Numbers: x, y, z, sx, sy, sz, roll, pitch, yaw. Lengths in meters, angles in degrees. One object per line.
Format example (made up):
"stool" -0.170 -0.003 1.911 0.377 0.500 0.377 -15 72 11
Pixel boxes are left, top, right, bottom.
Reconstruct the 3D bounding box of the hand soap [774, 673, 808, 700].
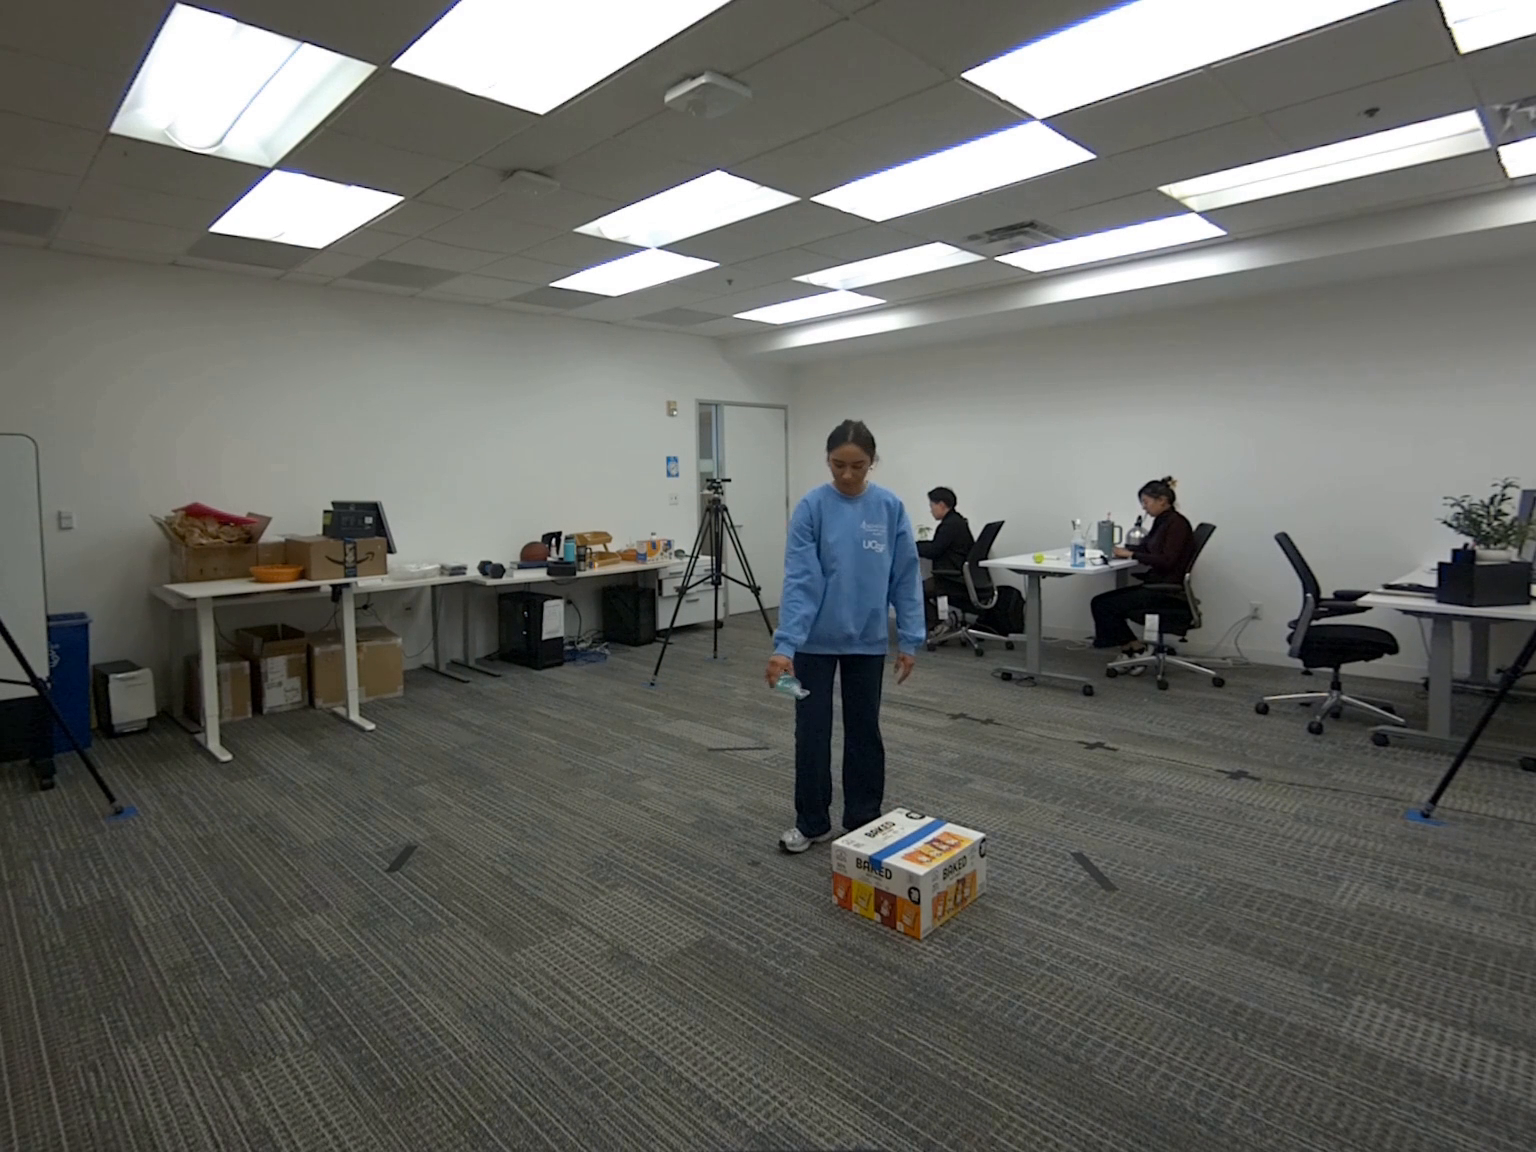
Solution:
"hand soap" 0.114 0.384 2.903 0.083 0.043 0.174 -18 20 -28
